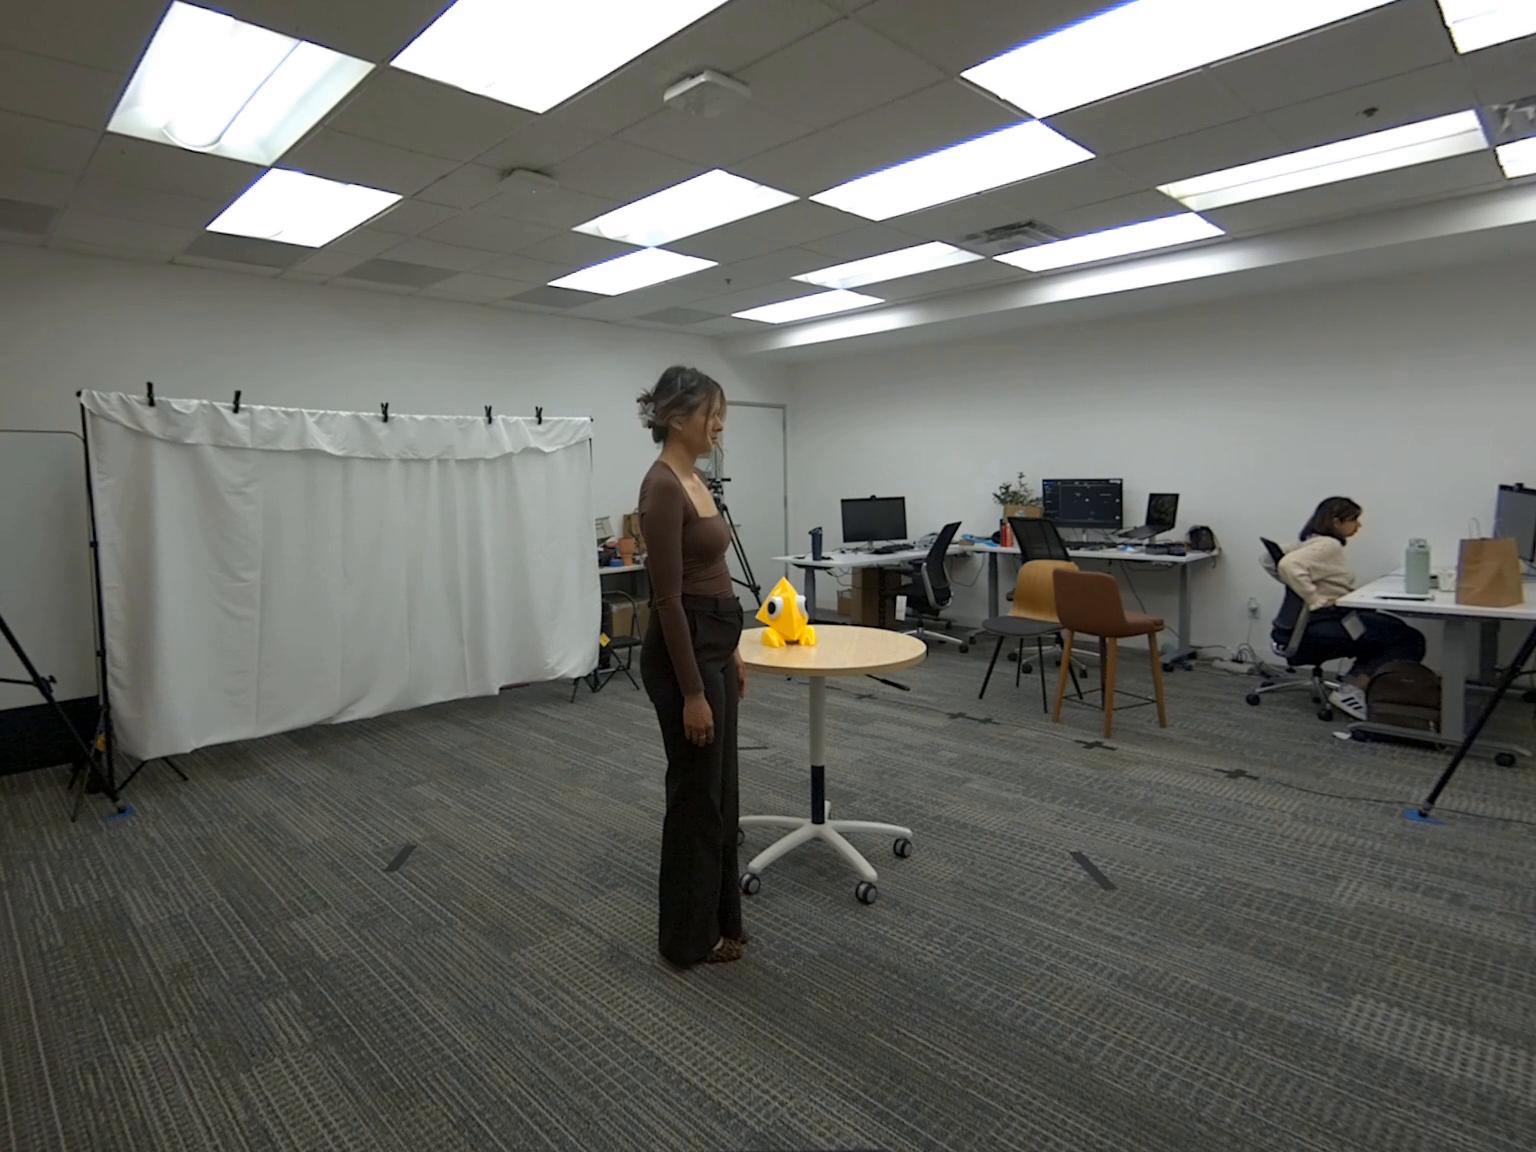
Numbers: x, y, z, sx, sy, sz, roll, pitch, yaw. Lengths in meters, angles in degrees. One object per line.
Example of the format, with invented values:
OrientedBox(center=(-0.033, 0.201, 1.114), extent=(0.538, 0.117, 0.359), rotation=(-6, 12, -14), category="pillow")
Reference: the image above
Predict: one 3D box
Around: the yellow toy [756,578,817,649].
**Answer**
OrientedBox(center=(0.080, 0.126, 3.109), extent=(0.202, 0.230, 0.196), rotation=(-2, 5, -13), category="yellow toy")
